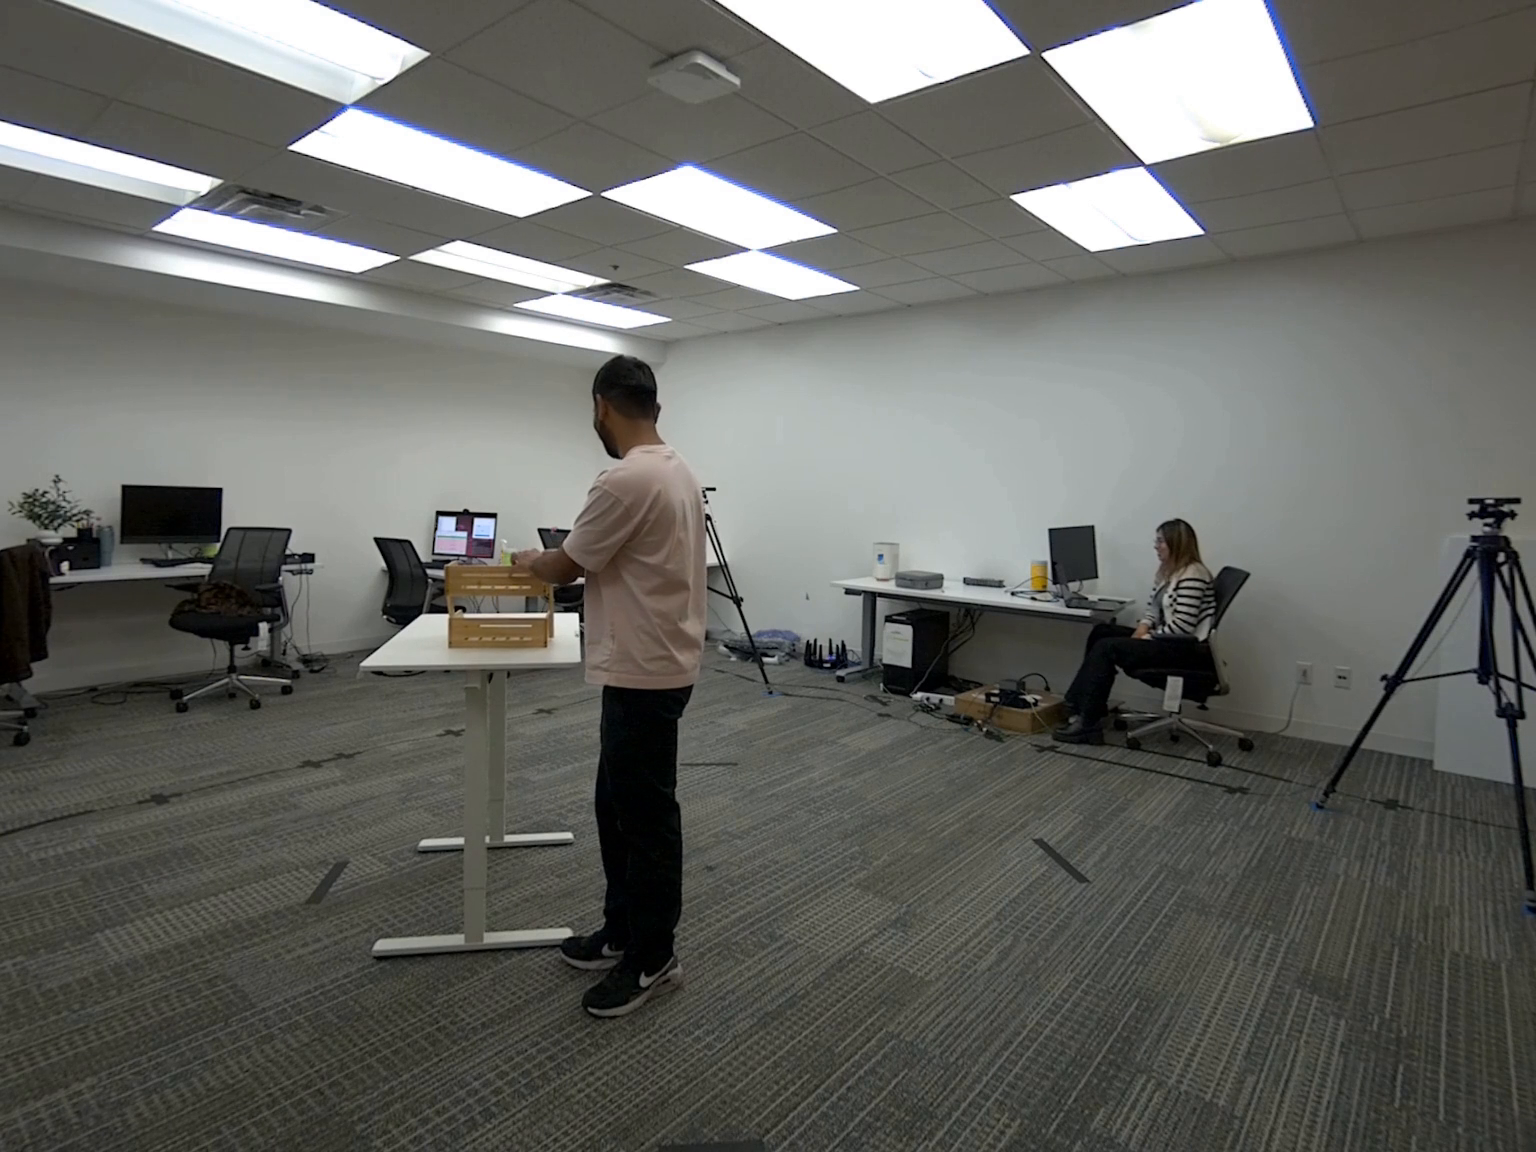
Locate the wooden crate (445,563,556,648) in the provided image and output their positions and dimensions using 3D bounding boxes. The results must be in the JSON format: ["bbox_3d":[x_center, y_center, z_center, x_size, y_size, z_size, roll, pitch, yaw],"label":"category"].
[{"bbox_3d":[-0.872,0.082,2.719,0.321,0.272,0.307,-1,7,-10],"label":"wooden crate"}]
